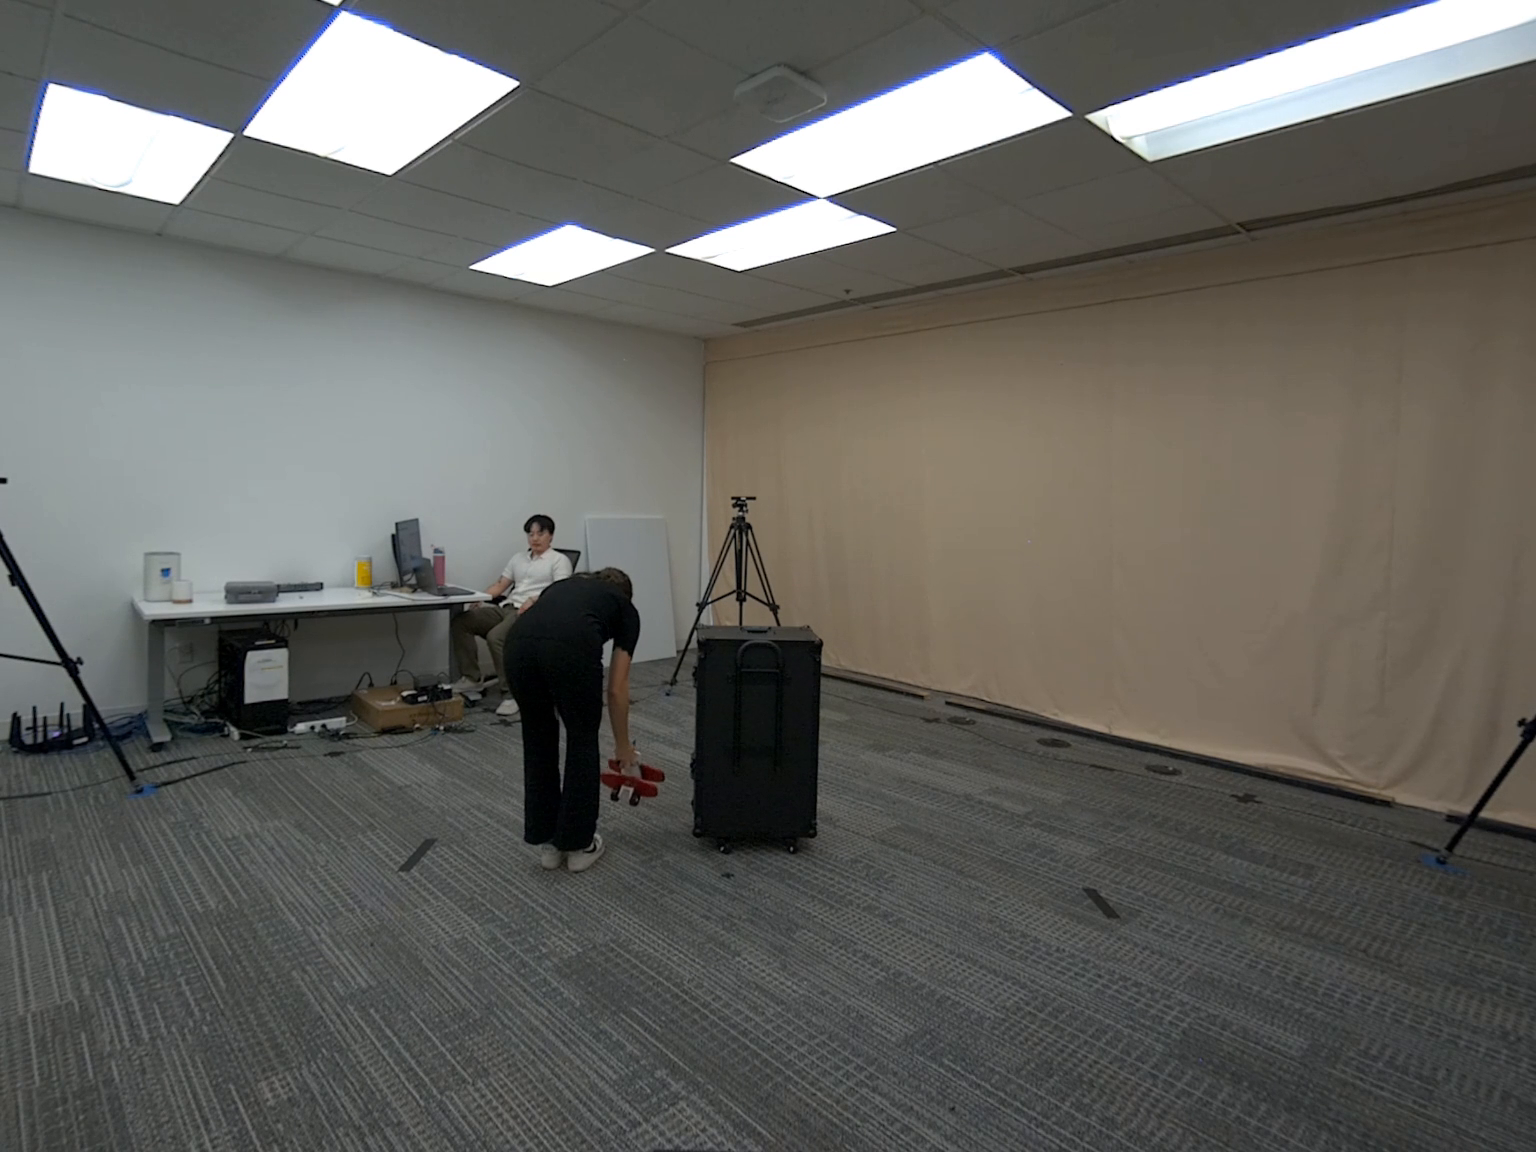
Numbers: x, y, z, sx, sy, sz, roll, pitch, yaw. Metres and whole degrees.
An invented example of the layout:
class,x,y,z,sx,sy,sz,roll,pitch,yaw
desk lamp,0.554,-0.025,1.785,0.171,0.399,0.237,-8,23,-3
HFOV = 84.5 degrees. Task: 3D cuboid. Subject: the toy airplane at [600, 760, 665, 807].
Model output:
class,x,y,z,sx,sy,sz,roll,pitch,yaw
toy airplane,-0.548,0.799,3.429,0.252,0.258,0.156,33,24,3
